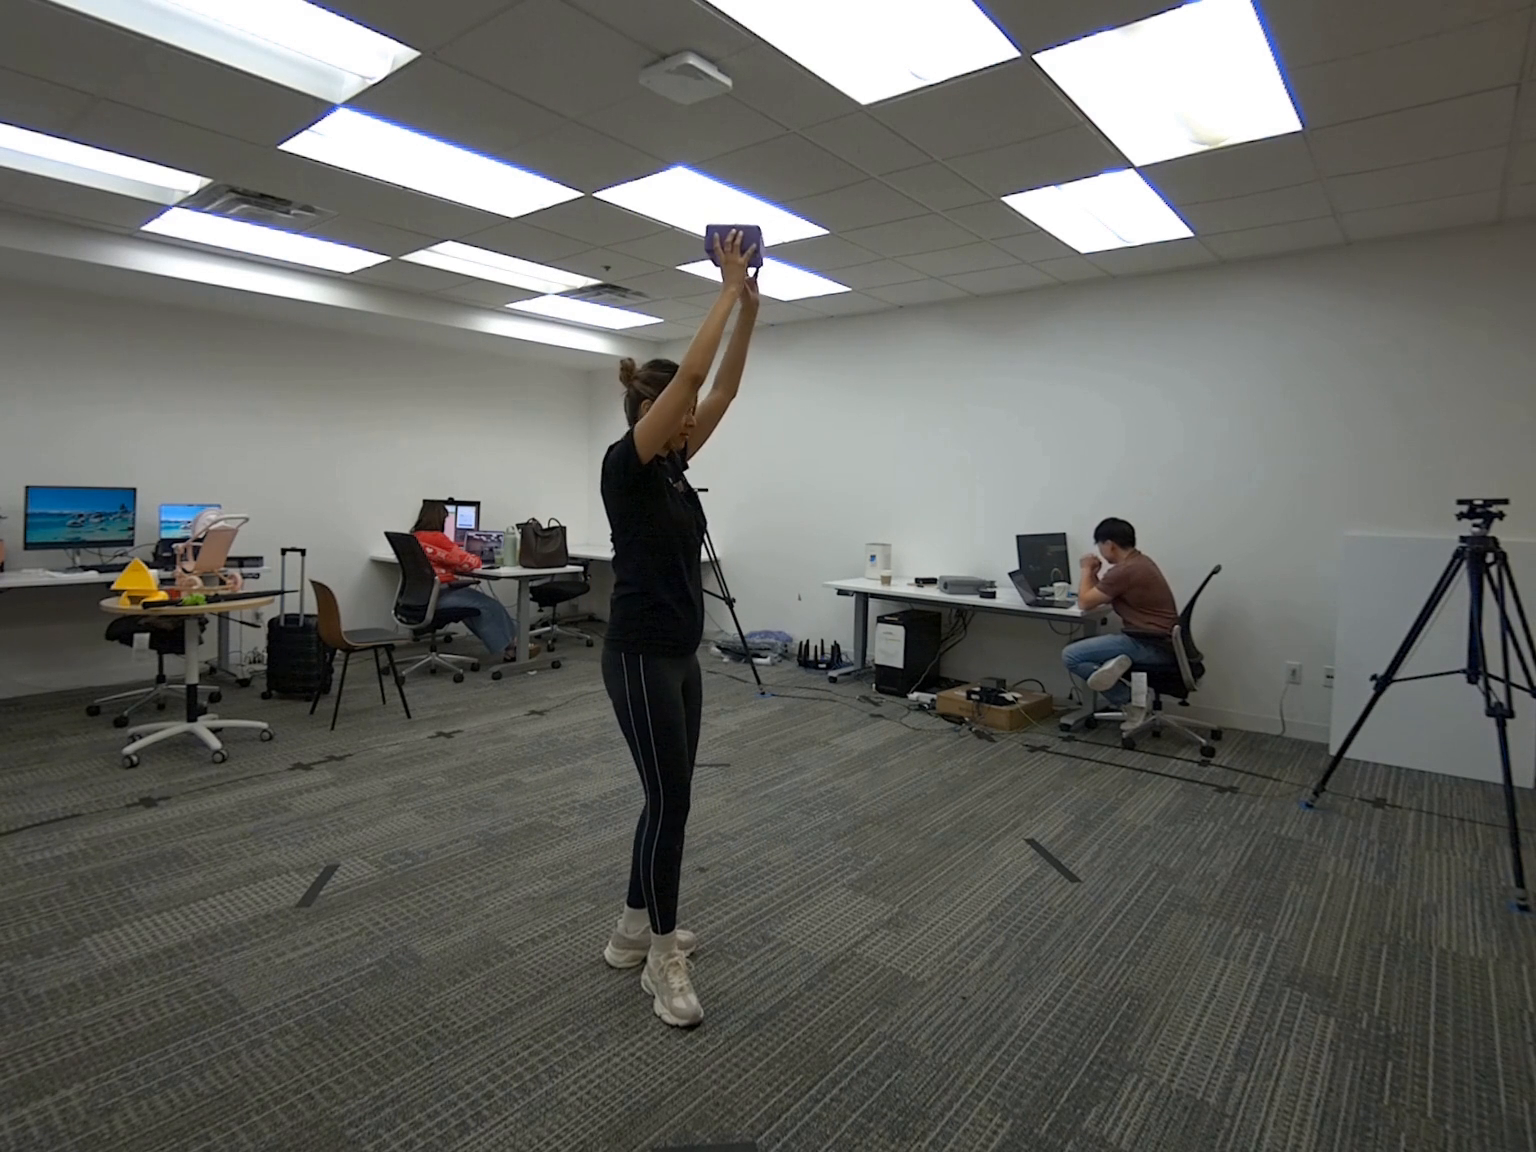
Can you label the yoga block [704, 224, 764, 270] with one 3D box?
[{"bbox_3d":[-0.090,-0.904,2.322,0.150,0.076,0.230,5,10,2],"label":"yoga block"}]
